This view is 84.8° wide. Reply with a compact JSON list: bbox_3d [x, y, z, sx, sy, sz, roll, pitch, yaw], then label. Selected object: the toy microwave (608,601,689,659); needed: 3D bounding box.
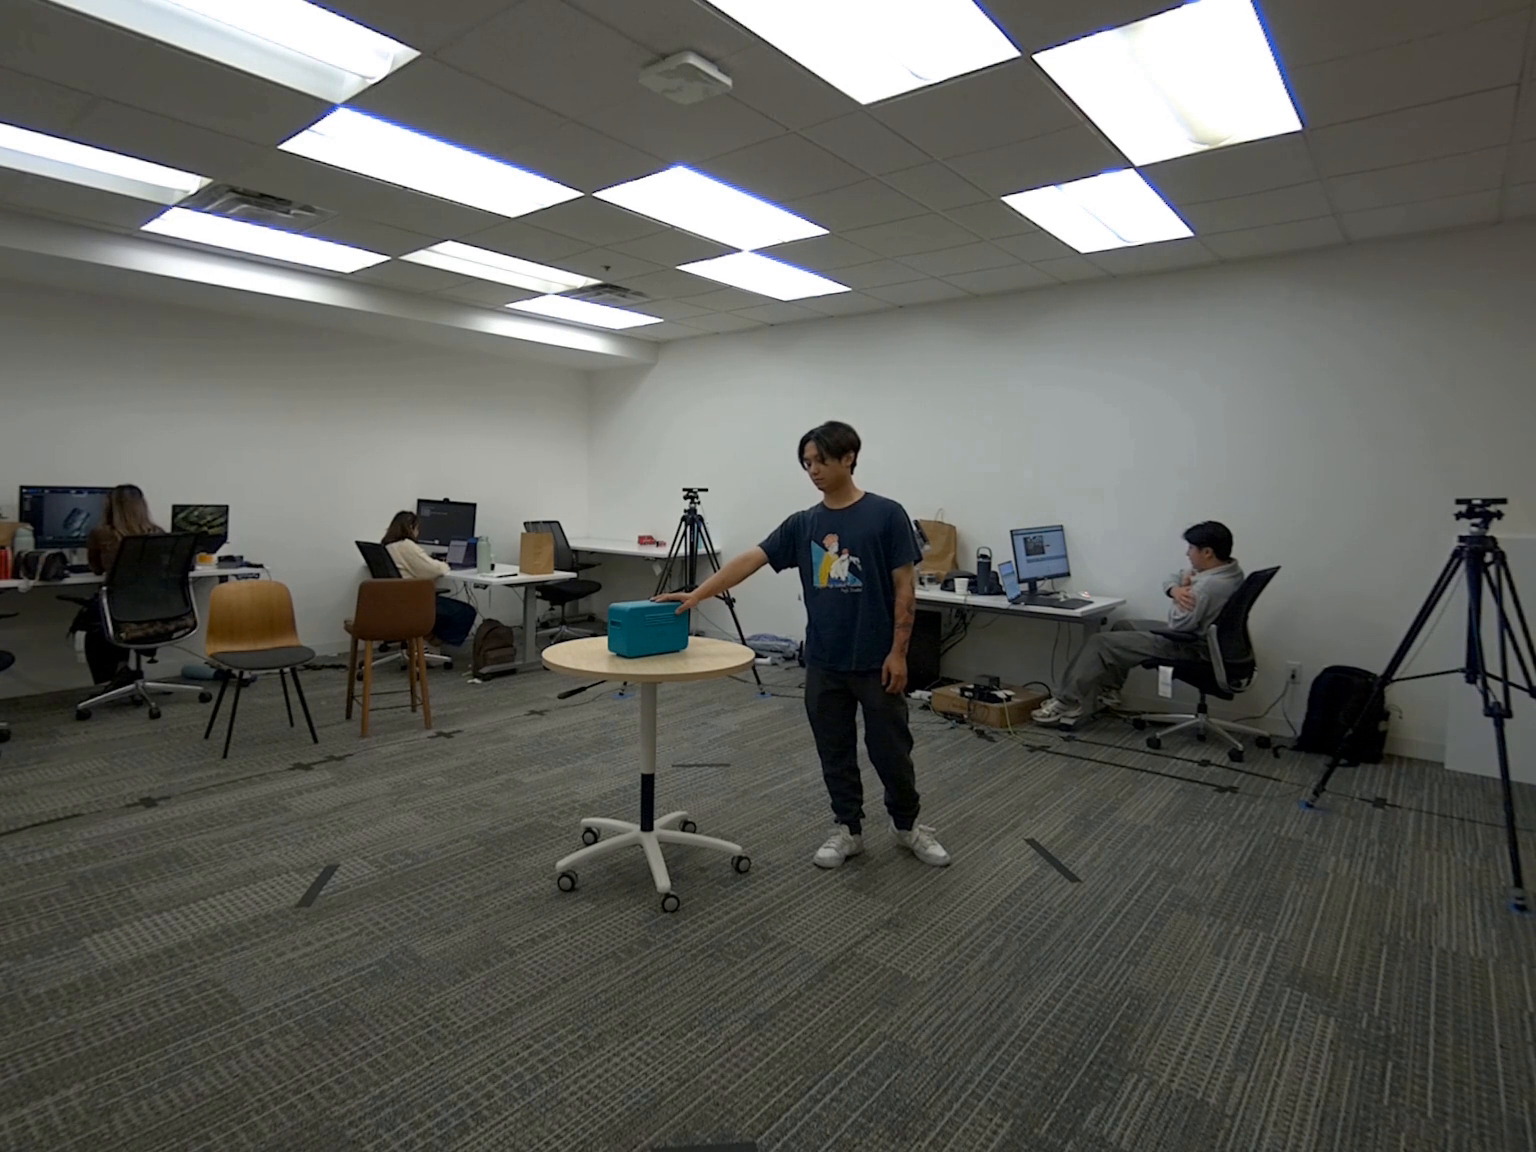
[{"bbox_3d":[-0.449,0.183,3.071,0.277,0.183,0.157,-2,5,-42],"label":"toy microwave"}]
